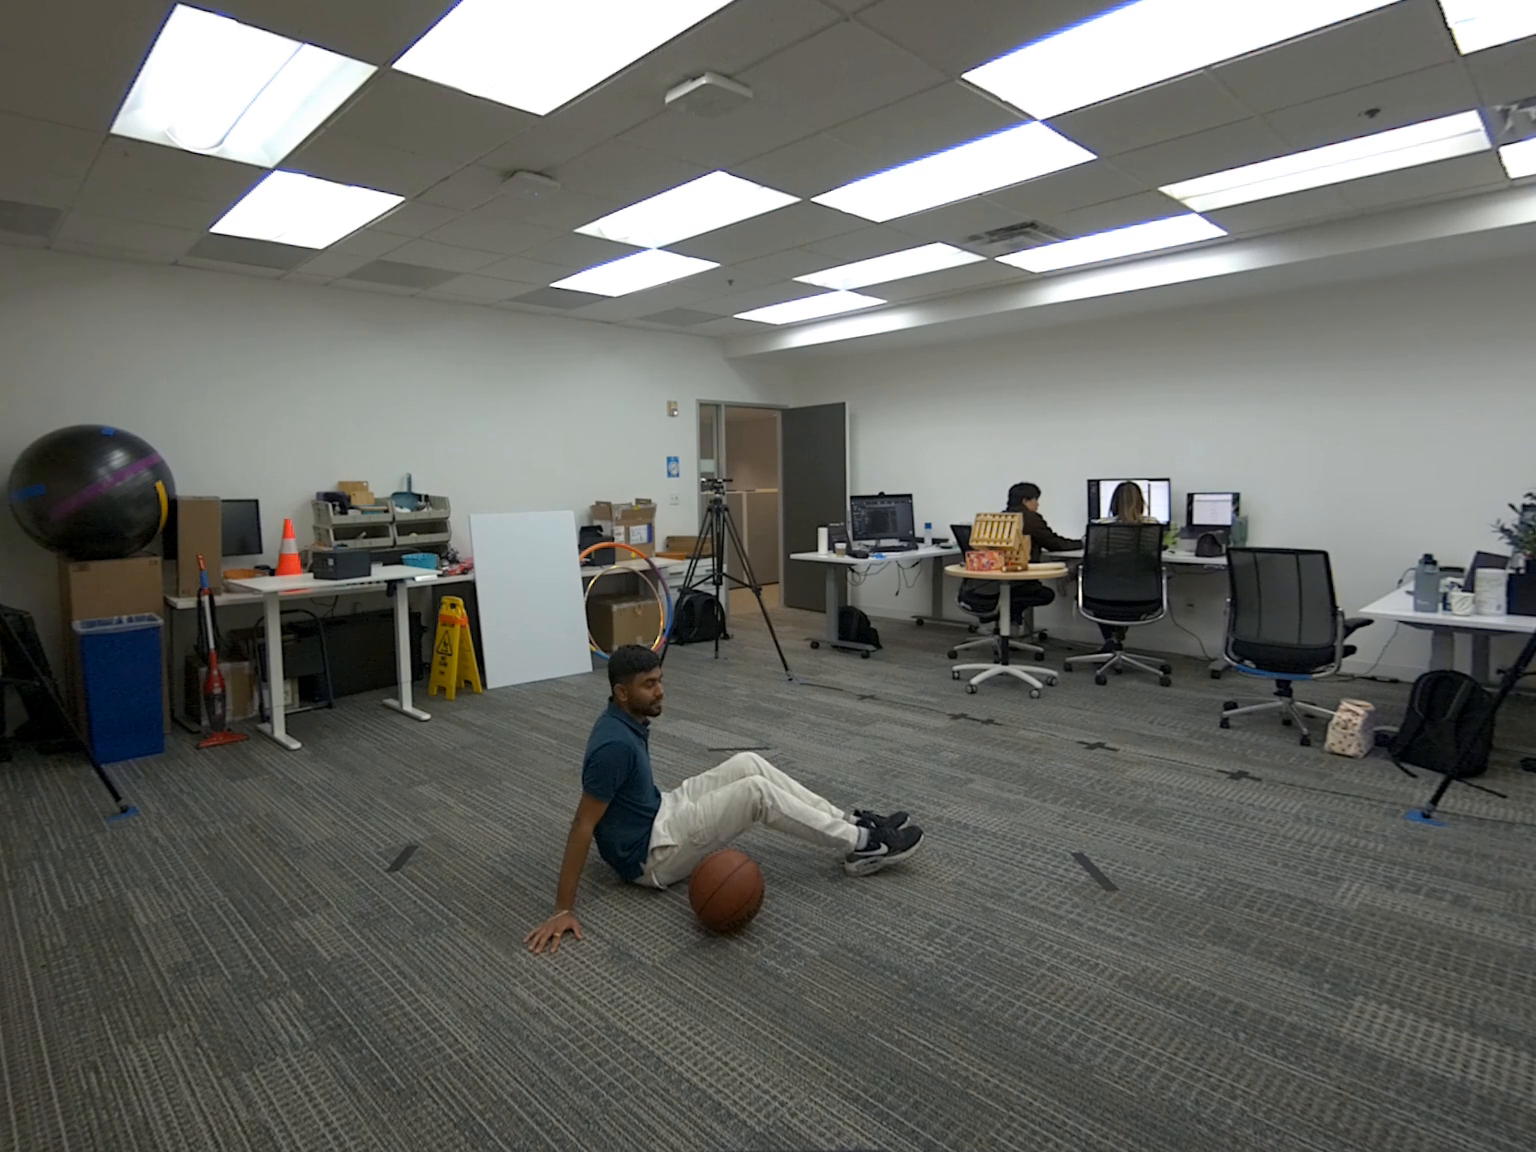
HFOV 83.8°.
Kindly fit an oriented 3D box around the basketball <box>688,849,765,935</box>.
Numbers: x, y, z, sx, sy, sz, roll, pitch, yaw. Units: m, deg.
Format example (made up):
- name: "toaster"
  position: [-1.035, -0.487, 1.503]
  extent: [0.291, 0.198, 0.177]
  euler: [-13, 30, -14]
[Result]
- name: "basketball"
  position: [-0.127, 0.977, 2.669]
  extent: [0.236, 0.235, 0.237]
  euler: [-1, 5, -2]
